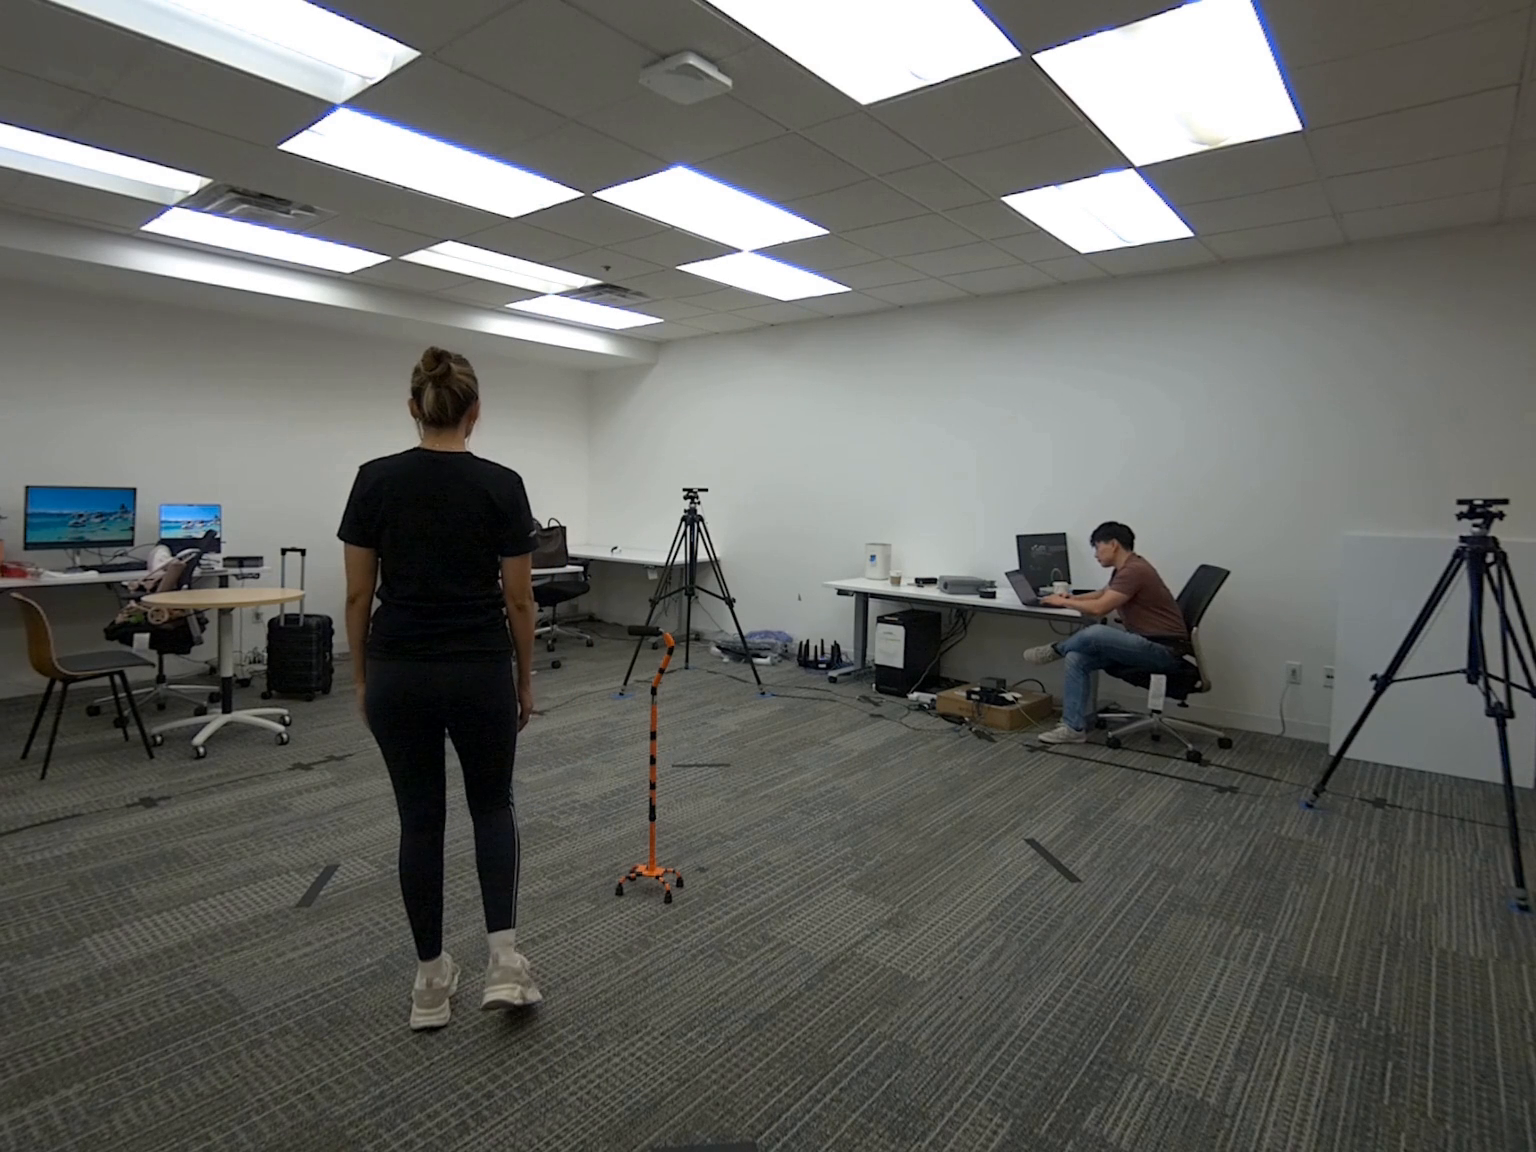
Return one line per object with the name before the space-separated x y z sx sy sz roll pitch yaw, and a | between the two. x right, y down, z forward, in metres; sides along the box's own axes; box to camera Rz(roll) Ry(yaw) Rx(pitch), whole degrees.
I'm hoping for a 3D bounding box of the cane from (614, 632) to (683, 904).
cane | -0.404 0.632 2.920 0.209 0.906 0.150 2 2 10
